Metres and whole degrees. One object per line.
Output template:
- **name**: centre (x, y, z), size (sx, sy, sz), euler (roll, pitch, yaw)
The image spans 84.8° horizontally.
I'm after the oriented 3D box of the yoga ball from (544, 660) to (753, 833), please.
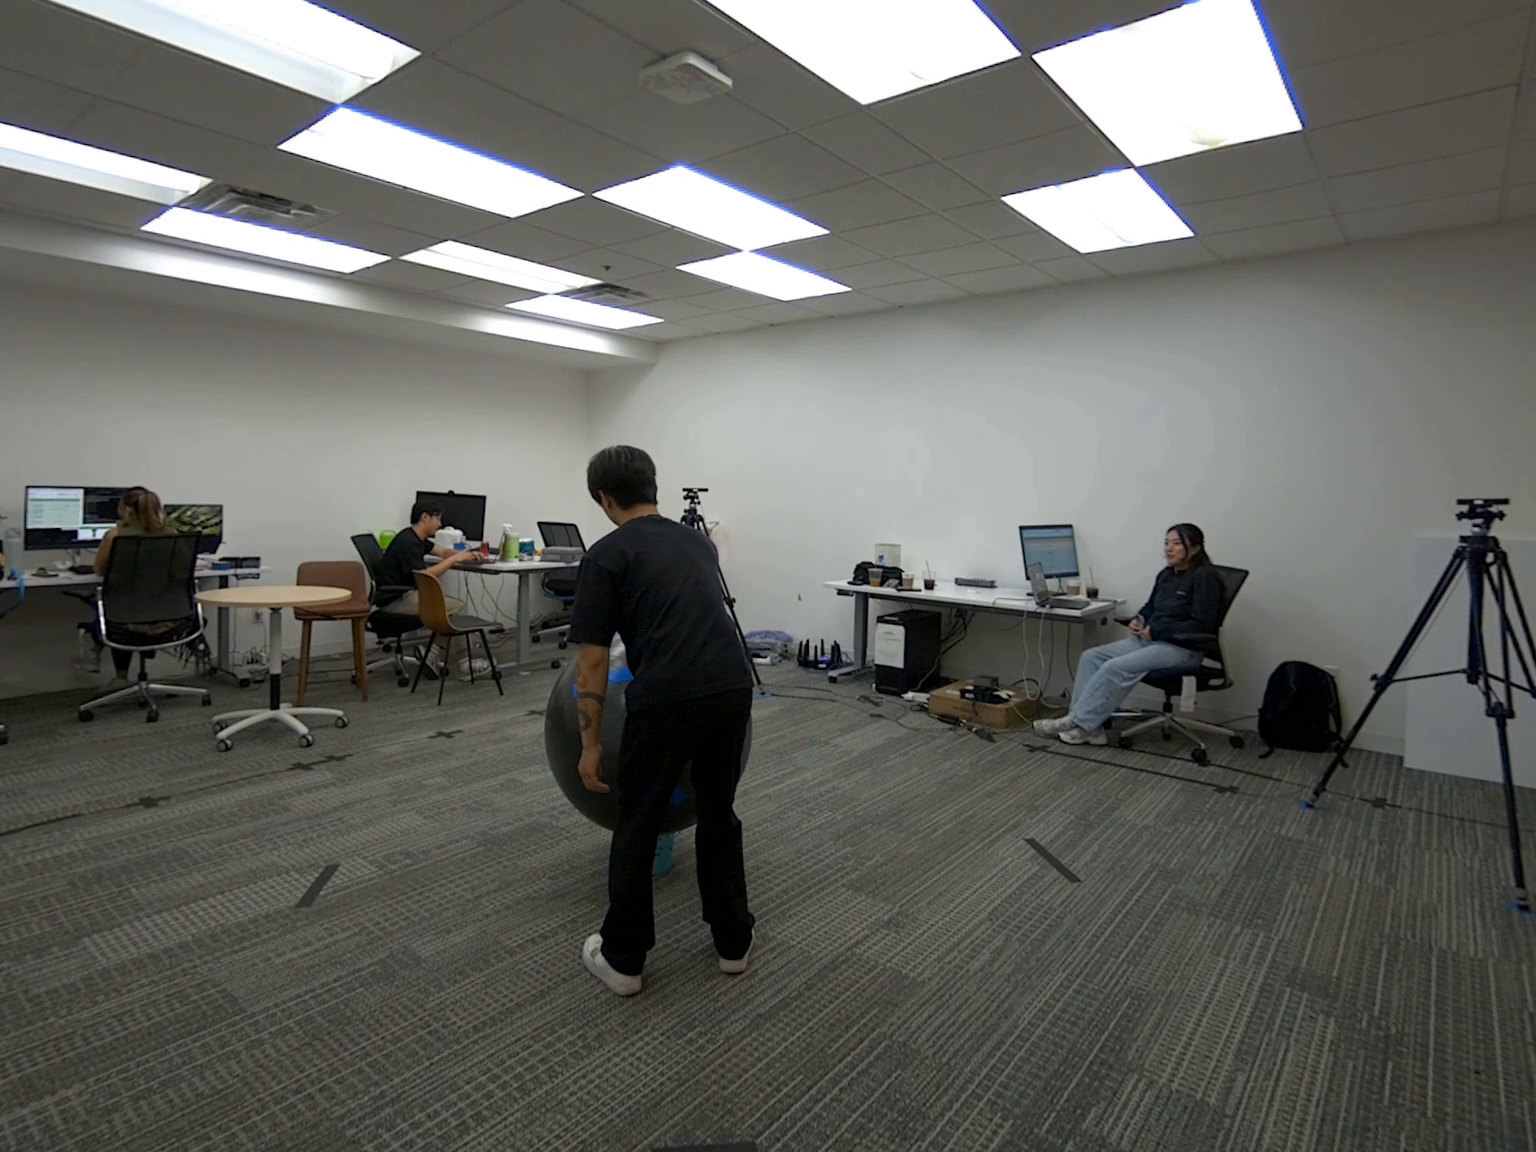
- **yoga ball**: centre (-0.446, 0.557, 3.133), size (0.757, 0.756, 0.762), euler (1, 4, -2)
